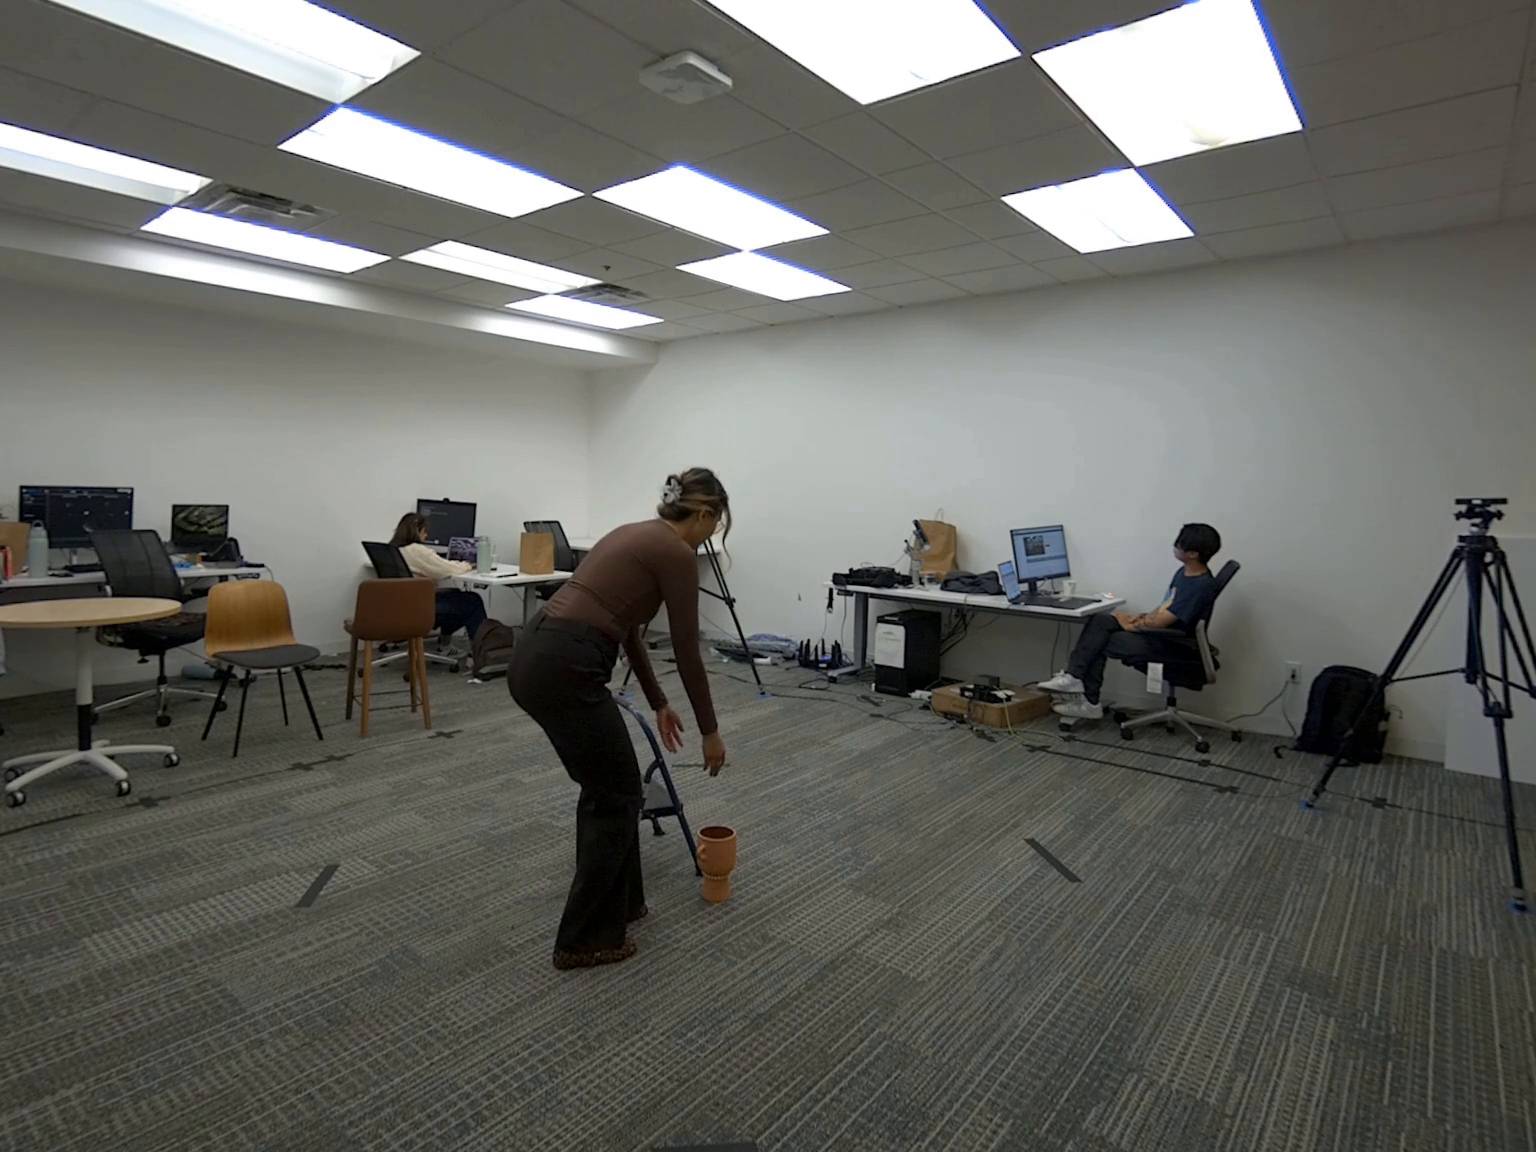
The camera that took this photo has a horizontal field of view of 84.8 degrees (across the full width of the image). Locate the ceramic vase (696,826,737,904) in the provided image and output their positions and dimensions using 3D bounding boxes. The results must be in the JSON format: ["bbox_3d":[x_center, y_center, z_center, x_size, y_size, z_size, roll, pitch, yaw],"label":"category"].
[{"bbox_3d":[-0.186,0.975,2.901,0.156,0.219,0.137,0,3,-16],"label":"ceramic vase"}]
